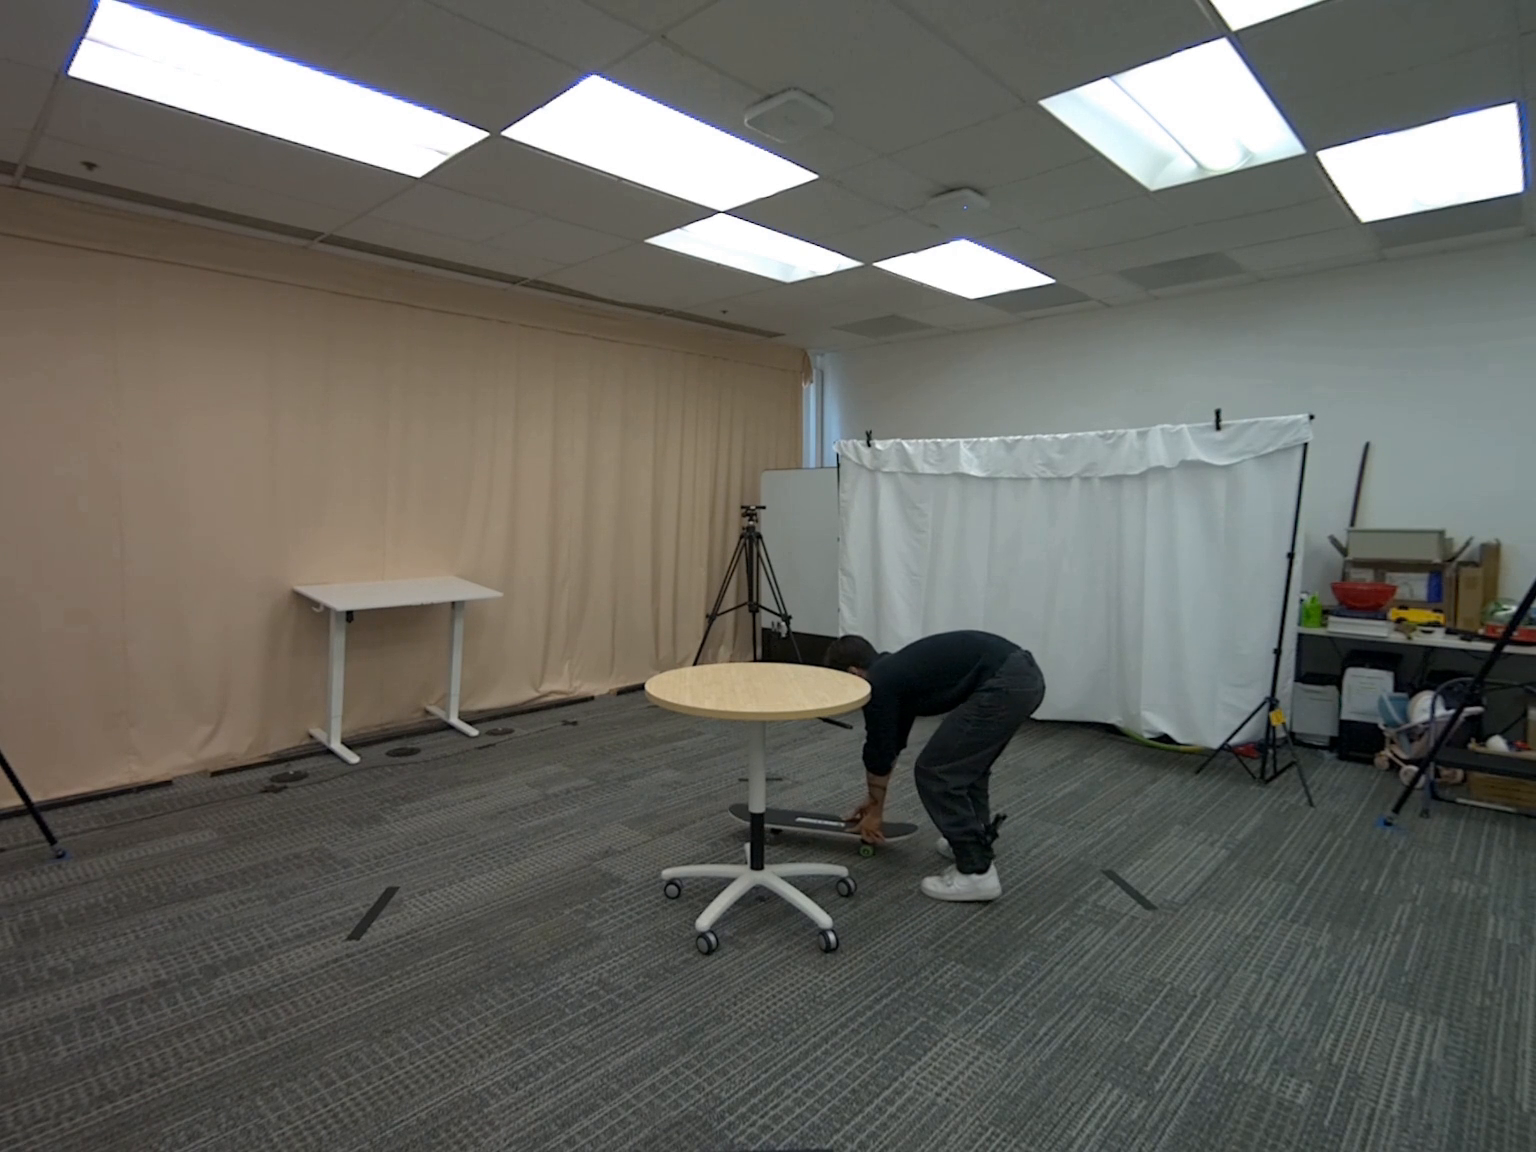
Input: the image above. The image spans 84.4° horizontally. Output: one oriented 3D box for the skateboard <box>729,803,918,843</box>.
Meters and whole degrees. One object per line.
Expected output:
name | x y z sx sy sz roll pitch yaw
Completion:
skateboard | 0.222 1.042 3.468 0.800 0.110 0.190 1 4 17
